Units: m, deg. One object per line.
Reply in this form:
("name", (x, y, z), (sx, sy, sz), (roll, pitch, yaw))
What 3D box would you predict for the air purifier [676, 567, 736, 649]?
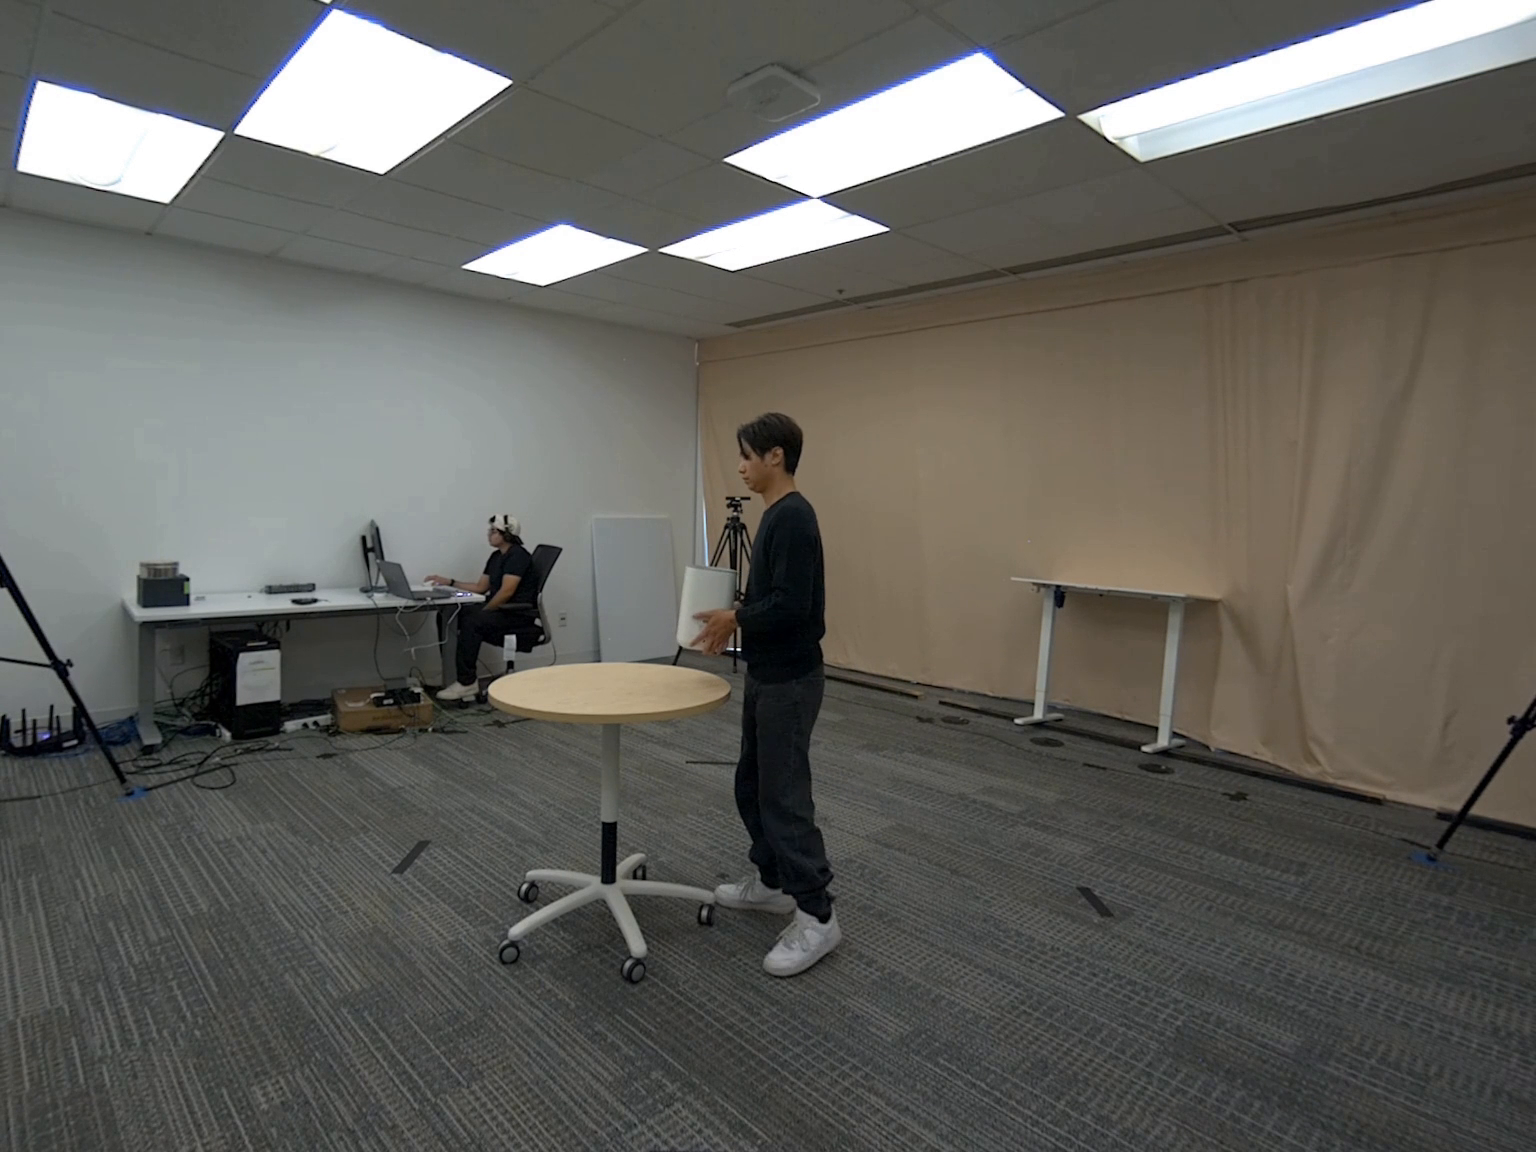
("air purifier", (-0.196, 0.102, 2.745), (0.173, 0.266, 0.169), (6, -3, 17))
